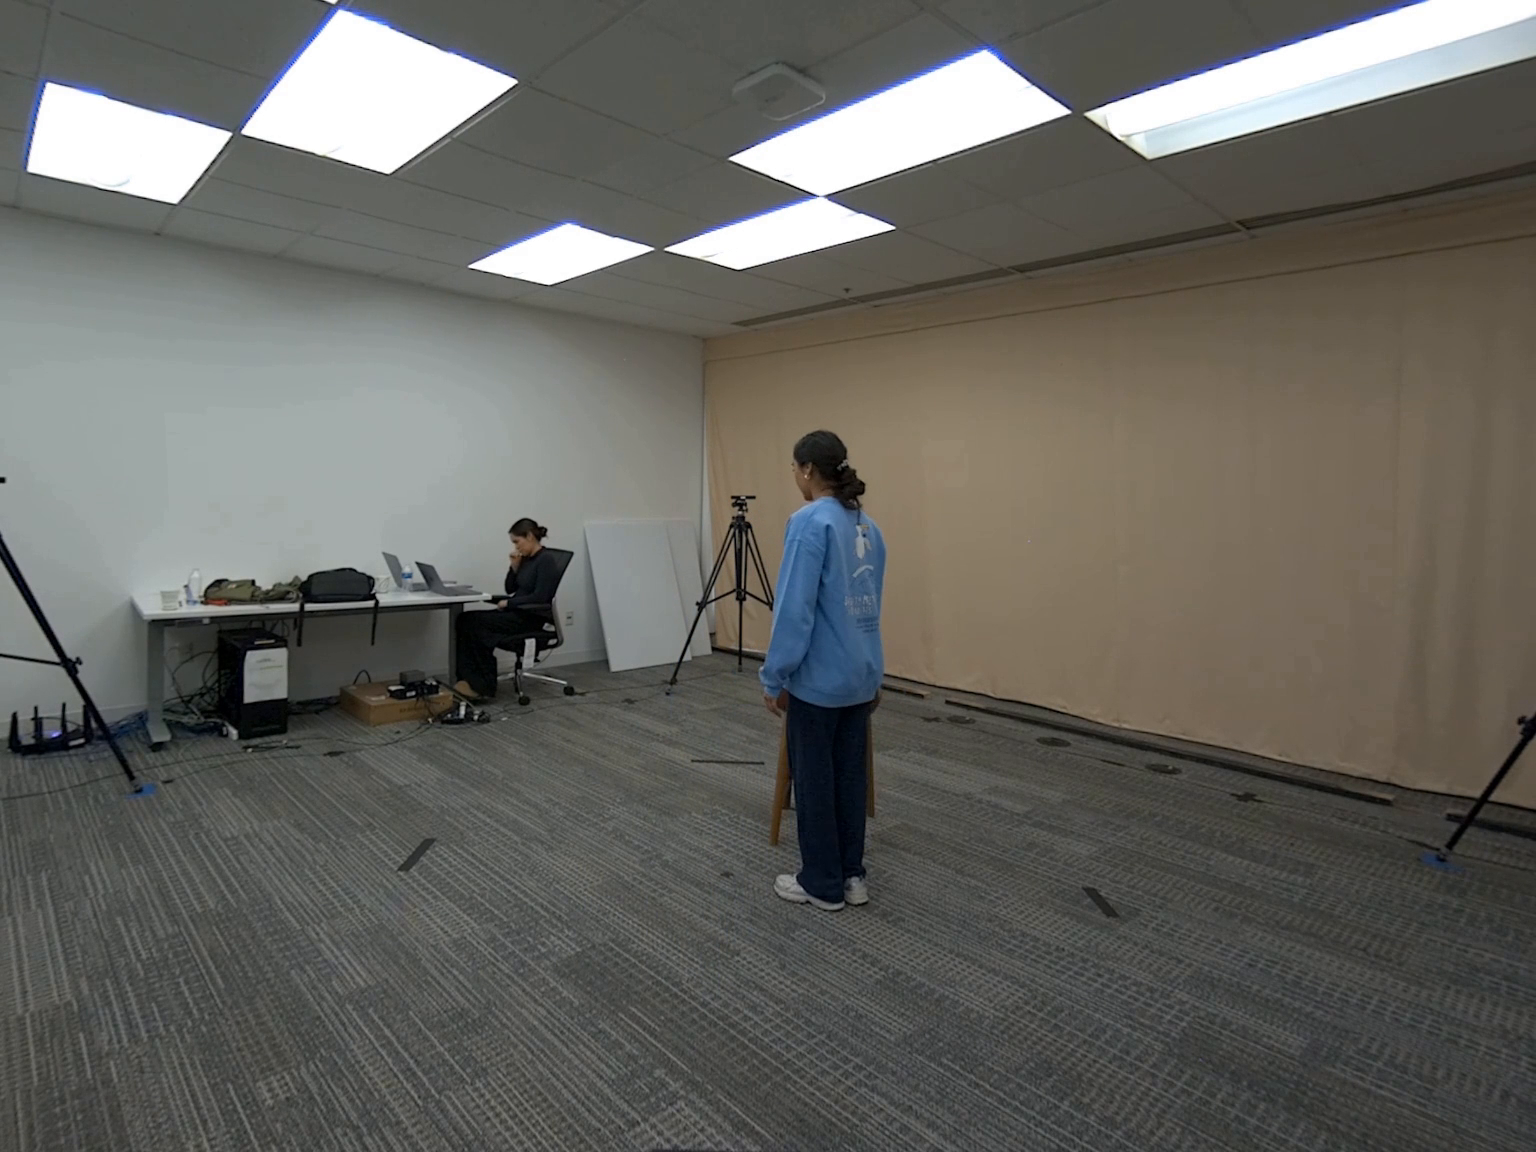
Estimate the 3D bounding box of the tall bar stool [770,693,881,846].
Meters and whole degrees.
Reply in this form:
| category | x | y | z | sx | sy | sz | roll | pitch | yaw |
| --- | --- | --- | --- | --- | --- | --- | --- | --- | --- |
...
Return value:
| category | x | y | z | sx | sy | sz | roll | pitch | yaw |
| --- | --- | --- | --- | --- | --- | --- | --- | --- | --- |
| tall bar stool | 0.240 | 0.640 | 3.531 | 0.461 | 0.886 | 0.464 | 2 | 5 | 13 |
